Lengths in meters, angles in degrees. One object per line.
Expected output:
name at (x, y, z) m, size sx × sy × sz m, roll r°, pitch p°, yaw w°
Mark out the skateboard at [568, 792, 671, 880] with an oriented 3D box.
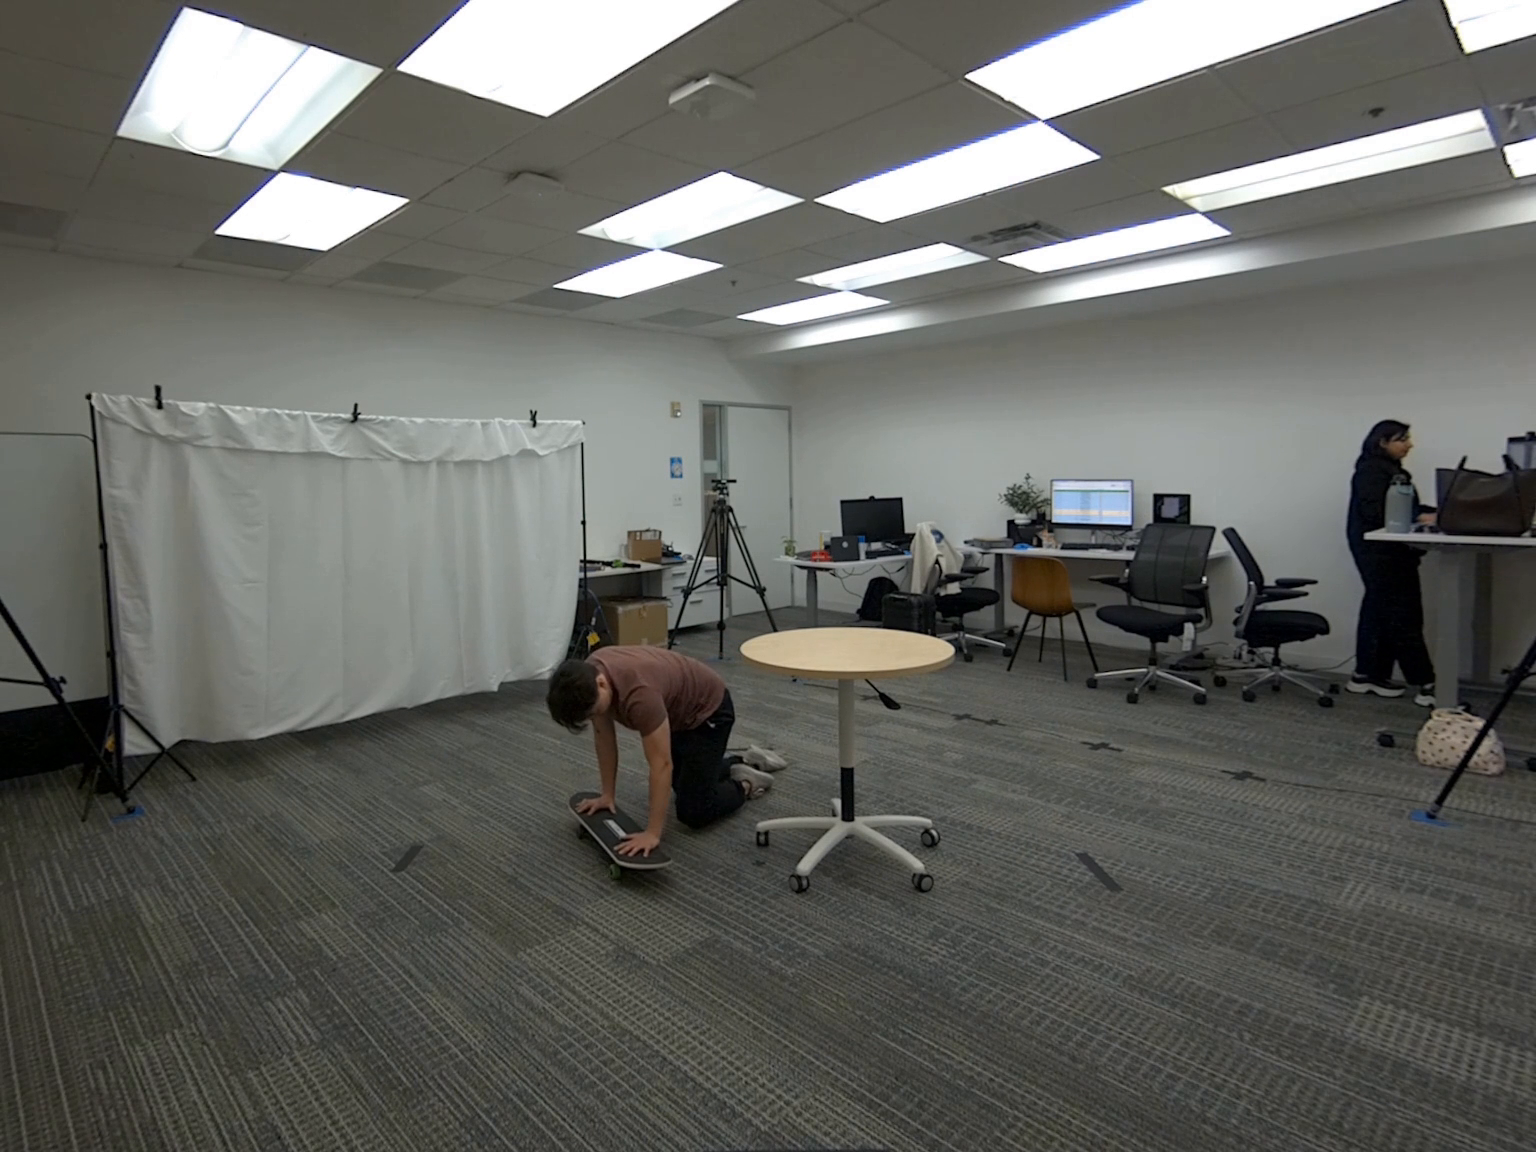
skateboard at (-0.571, 0.989, 3.220) m, size 0.189 × 0.110 × 0.806 m, roll 0°, pitch 5°, yaw -28°
